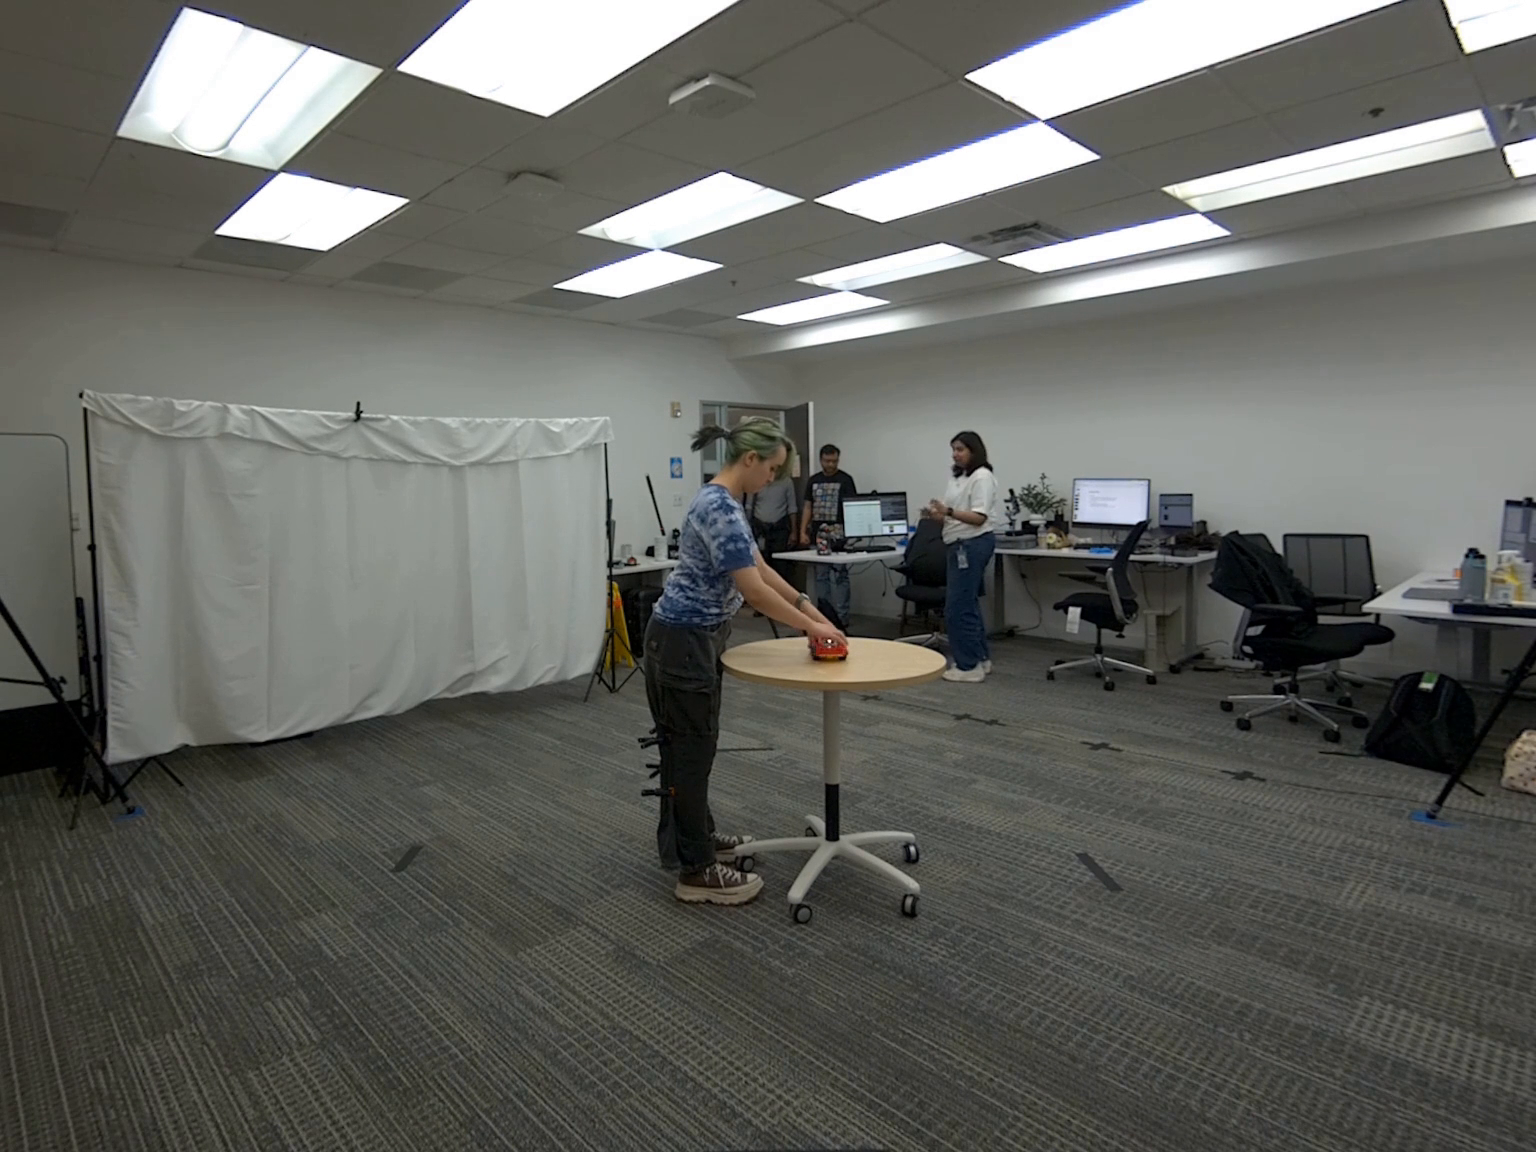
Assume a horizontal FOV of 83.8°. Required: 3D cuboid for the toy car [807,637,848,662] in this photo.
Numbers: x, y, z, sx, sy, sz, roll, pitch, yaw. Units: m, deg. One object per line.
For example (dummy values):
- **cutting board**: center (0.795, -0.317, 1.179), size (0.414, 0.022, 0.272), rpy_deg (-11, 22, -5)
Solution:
- **toy car**: center (0.207, 0.243, 2.933), size (0.130, 0.083, 0.254), rpy_deg (0, -2, -1)
